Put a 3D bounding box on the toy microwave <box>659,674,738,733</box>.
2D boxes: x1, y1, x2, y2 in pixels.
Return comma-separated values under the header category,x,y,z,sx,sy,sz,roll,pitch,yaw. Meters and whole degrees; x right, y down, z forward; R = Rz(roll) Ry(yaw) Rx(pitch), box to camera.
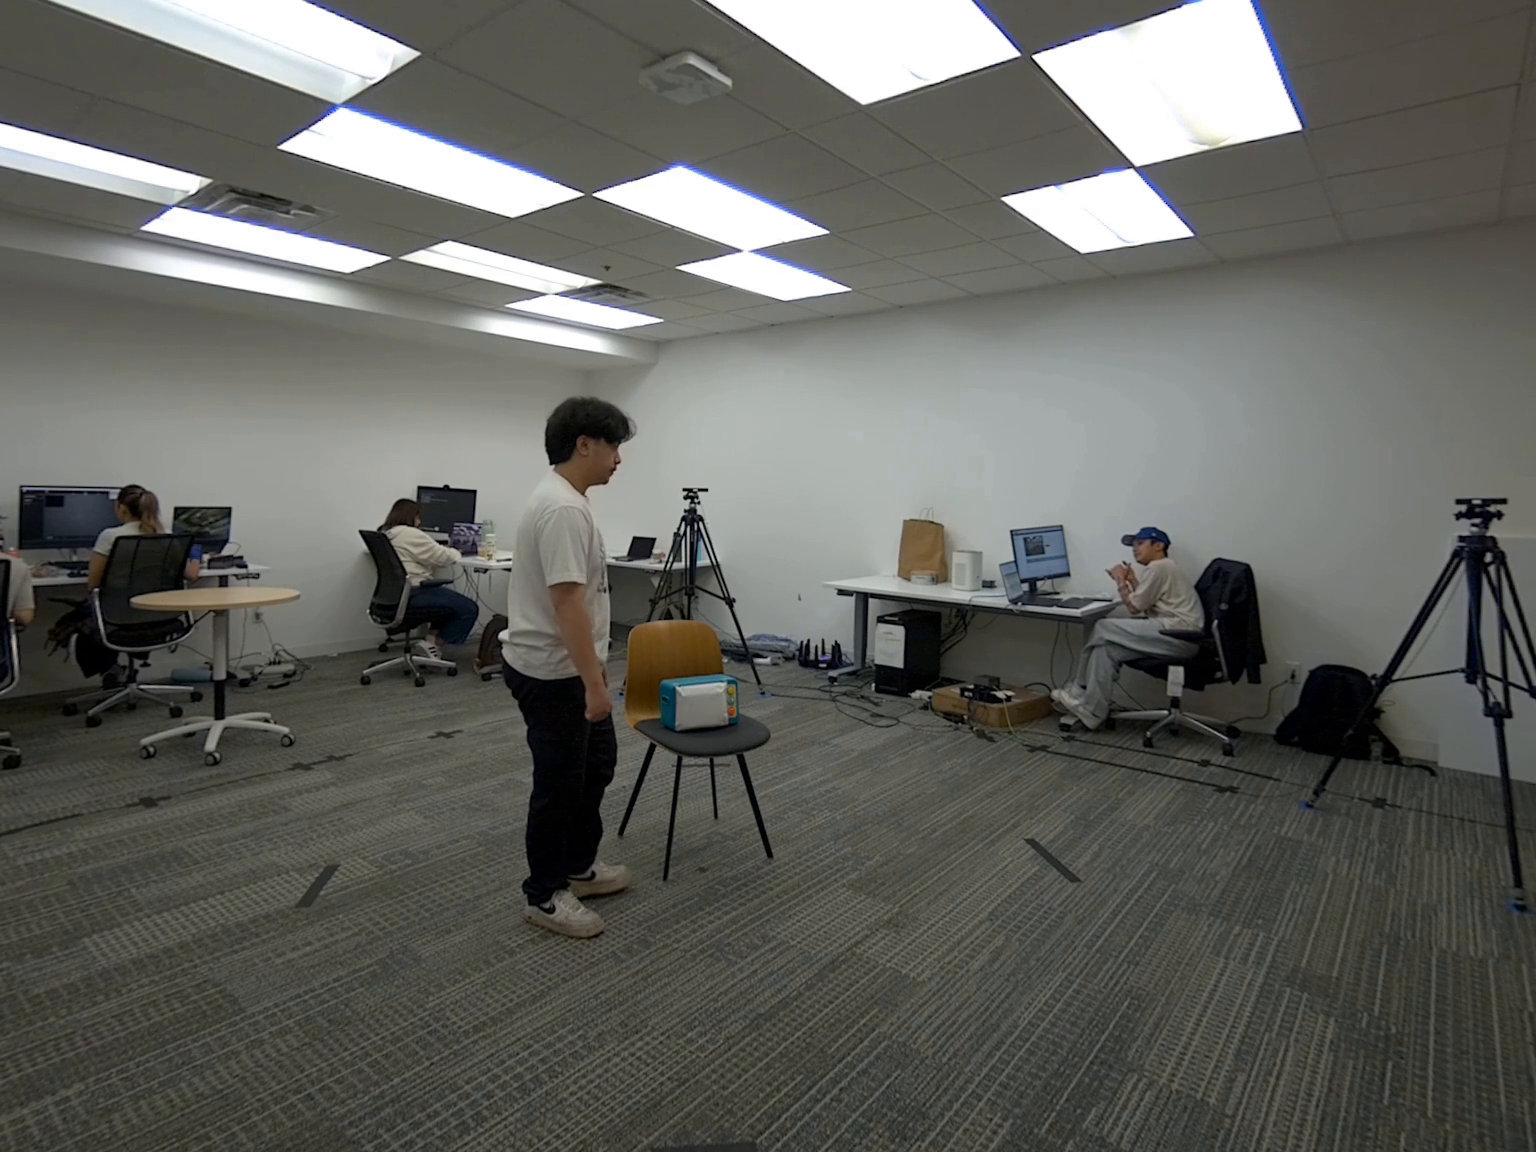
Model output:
category,x,y,z,sx,sy,sz,roll,pitch,yaw
toy microwave,-0.273,0.481,3.254,0.279,0.184,0.156,-2,1,-26
